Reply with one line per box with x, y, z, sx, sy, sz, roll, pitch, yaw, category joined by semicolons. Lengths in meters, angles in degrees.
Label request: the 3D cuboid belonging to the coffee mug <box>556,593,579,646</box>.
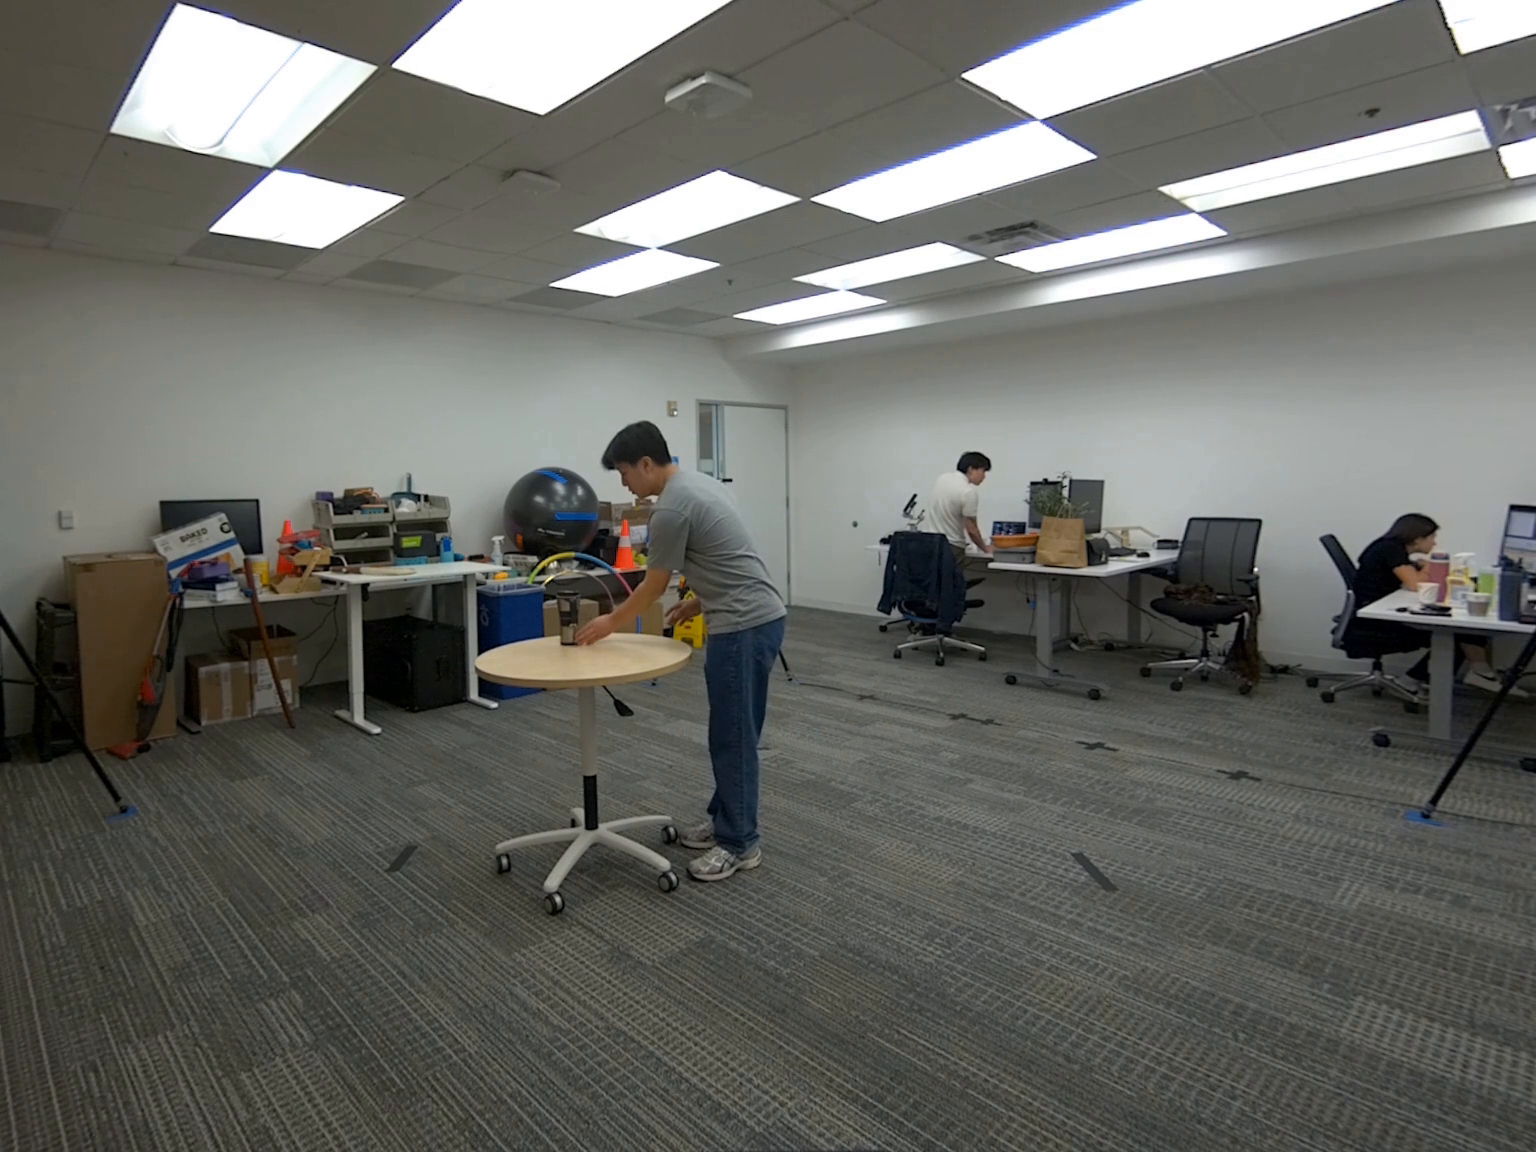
-0.754;0.160;3.217;0.088;0.202;0.122;0;2;1;coffee mug
